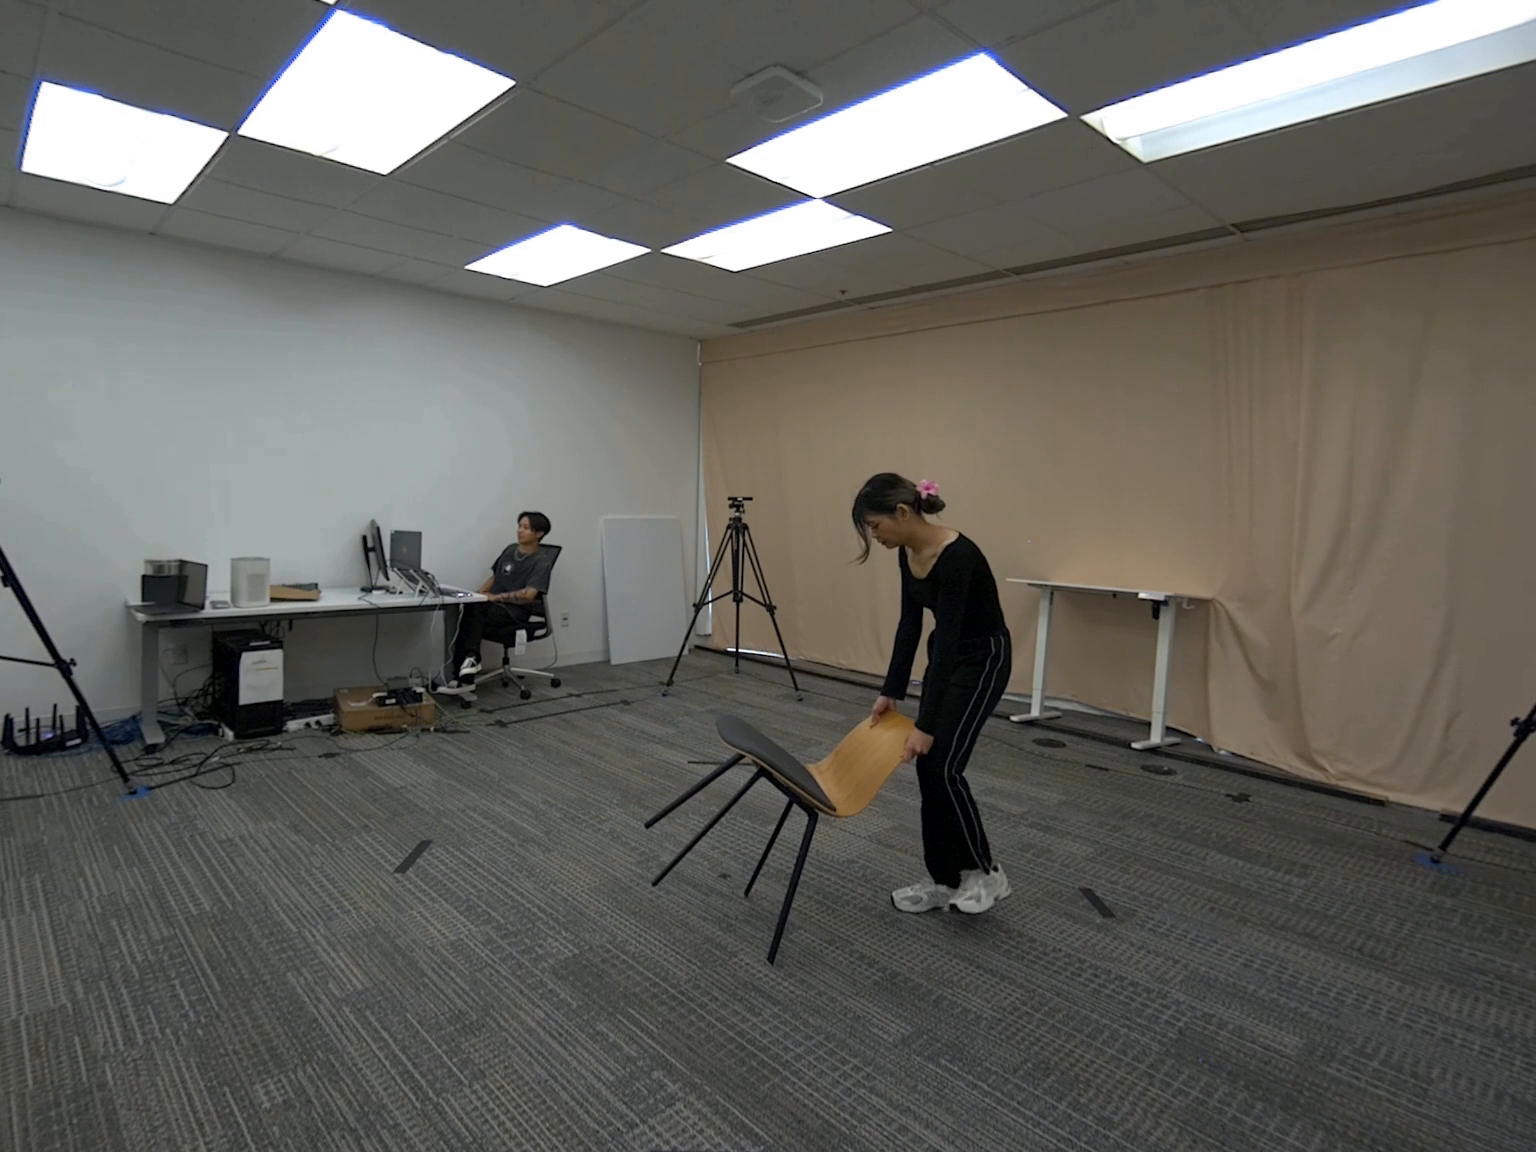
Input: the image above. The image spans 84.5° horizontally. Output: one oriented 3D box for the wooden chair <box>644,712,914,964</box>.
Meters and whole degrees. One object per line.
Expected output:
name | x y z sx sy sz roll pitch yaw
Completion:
wooden chair | 0.035 0.663 2.706 0.518 0.877 0.483 42 -3 -9
